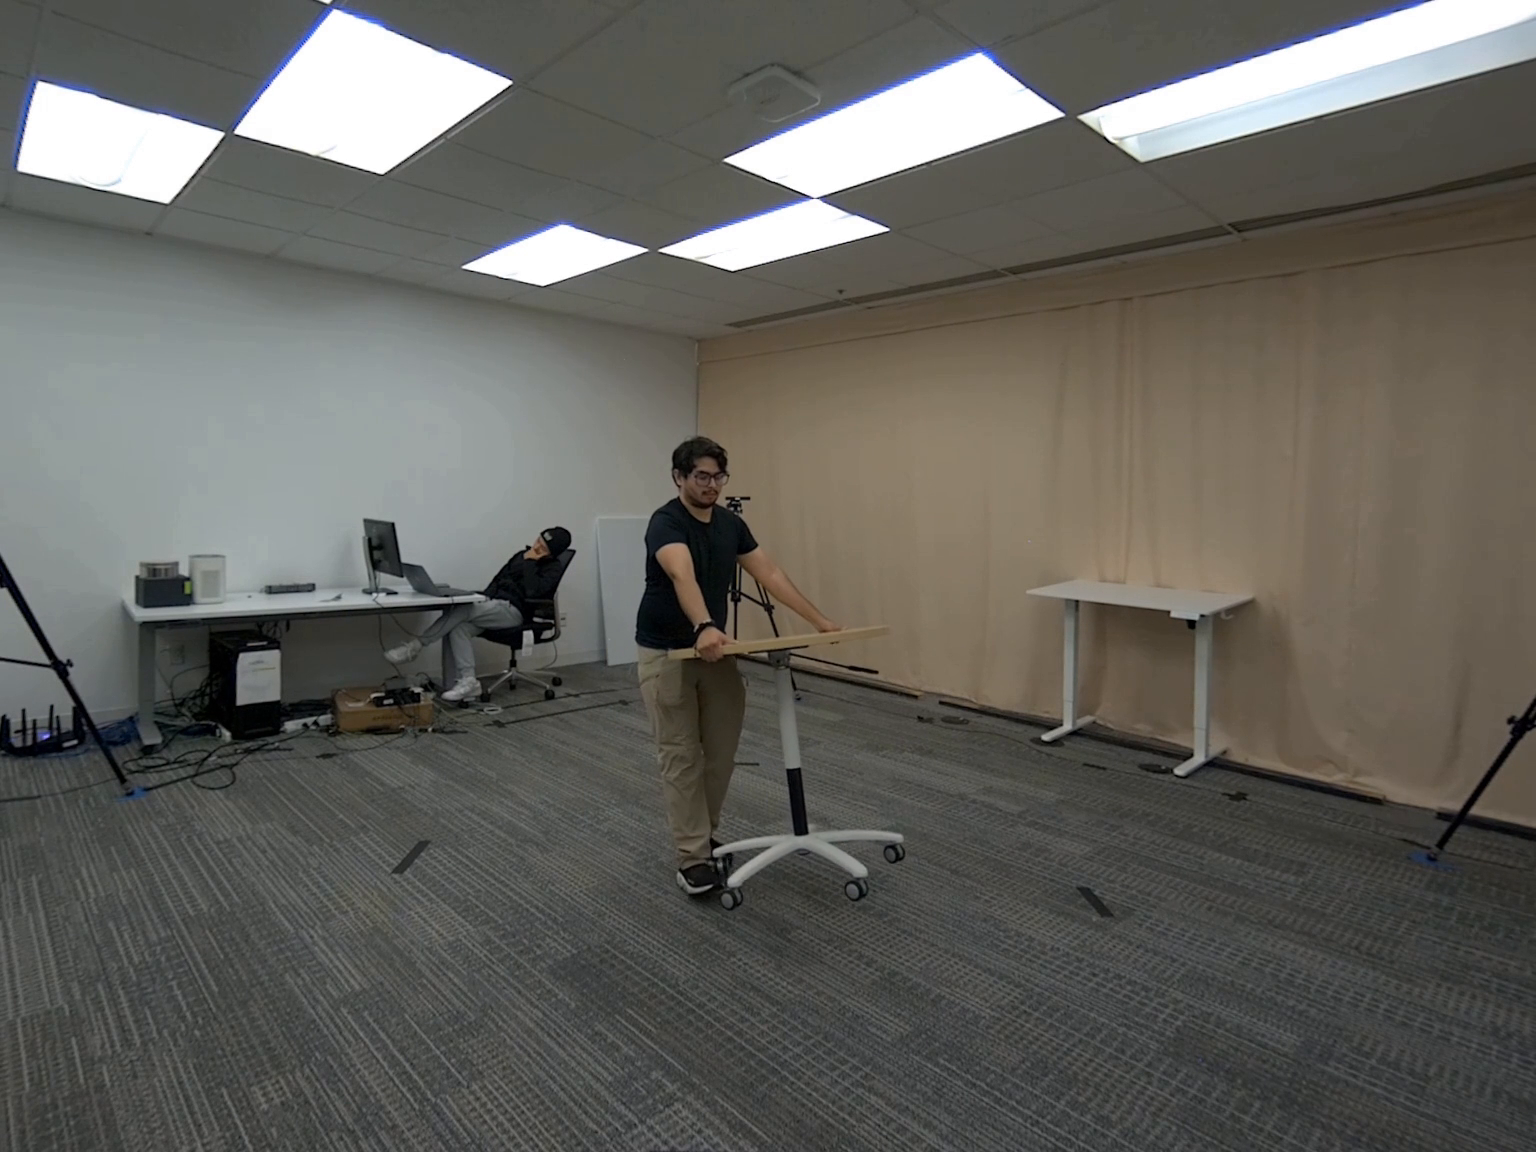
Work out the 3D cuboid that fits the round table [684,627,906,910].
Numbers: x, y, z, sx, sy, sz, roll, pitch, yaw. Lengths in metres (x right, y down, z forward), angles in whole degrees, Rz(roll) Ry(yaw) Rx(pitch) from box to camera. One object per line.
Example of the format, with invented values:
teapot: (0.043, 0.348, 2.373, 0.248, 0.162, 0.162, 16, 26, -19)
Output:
round table: (0.088, 0.615, 2.877, 0.784, 0.790, 0.782, -6, -5, -2)
